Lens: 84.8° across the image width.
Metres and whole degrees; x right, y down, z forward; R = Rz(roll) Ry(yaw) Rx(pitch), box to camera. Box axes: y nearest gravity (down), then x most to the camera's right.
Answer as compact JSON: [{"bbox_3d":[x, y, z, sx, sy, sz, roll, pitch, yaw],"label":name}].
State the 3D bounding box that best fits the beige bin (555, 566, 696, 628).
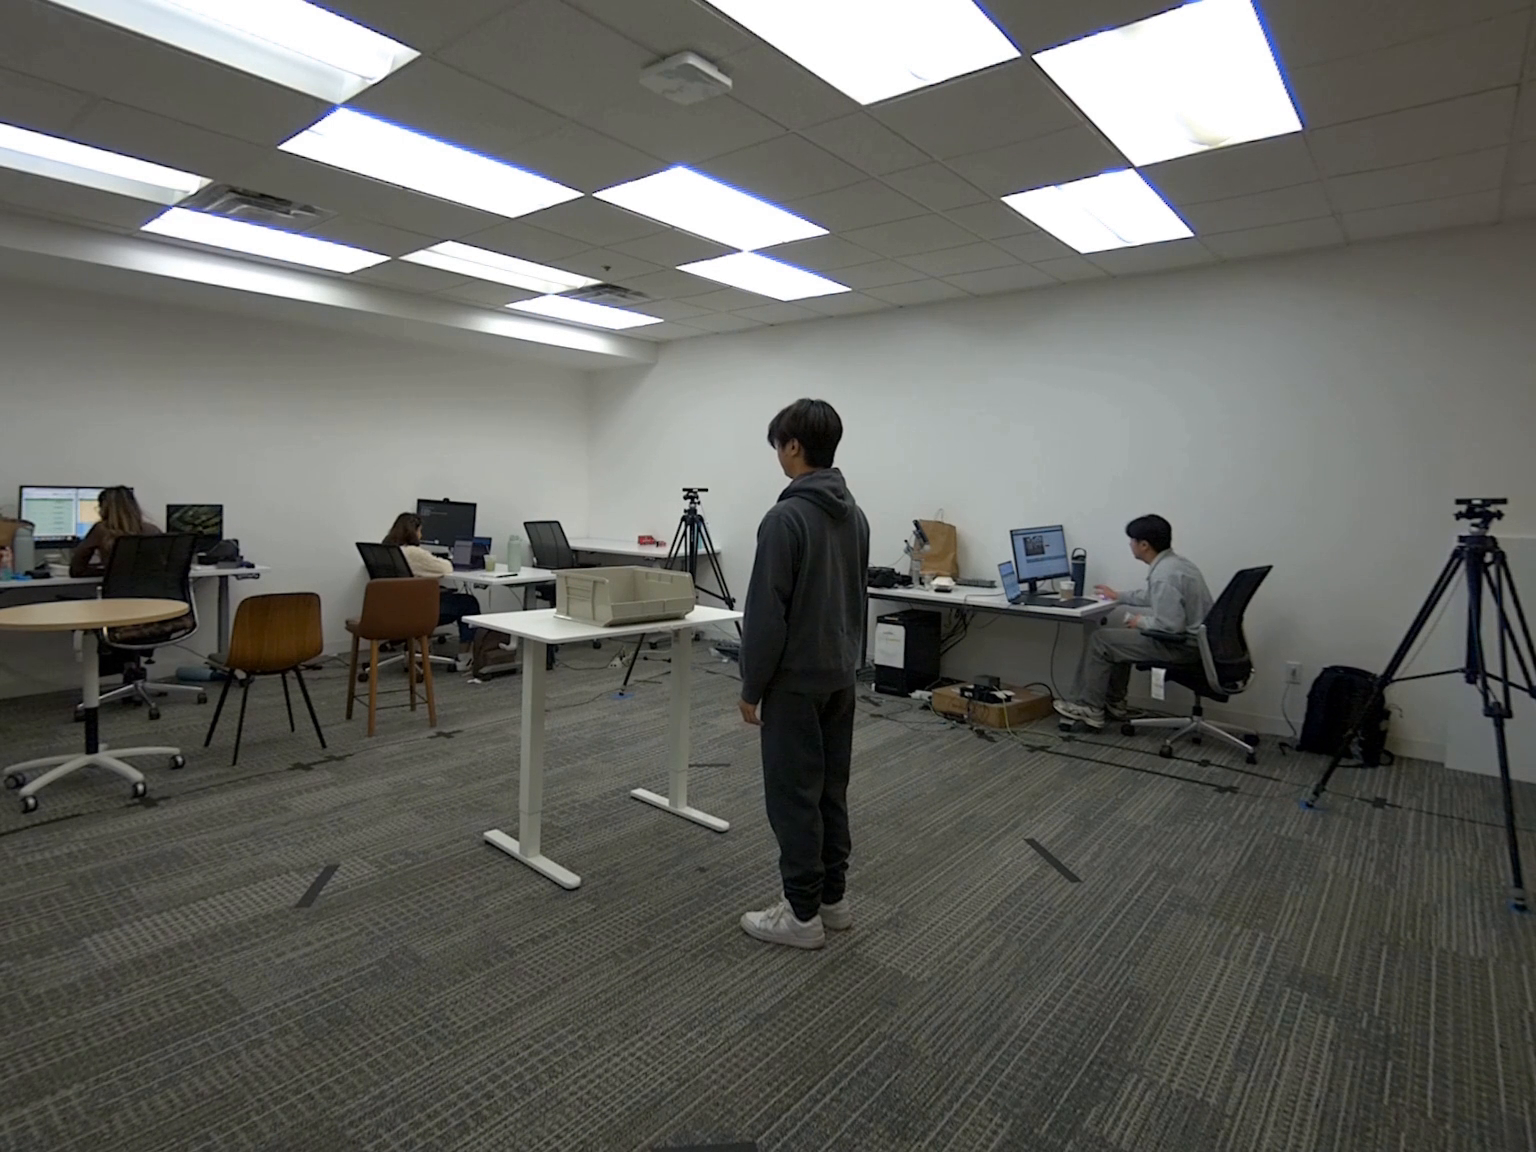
[{"bbox_3d":[-0.570,0.075,3.301,0.390,0.188,0.409,5,6,43],"label":"beige bin"}]
